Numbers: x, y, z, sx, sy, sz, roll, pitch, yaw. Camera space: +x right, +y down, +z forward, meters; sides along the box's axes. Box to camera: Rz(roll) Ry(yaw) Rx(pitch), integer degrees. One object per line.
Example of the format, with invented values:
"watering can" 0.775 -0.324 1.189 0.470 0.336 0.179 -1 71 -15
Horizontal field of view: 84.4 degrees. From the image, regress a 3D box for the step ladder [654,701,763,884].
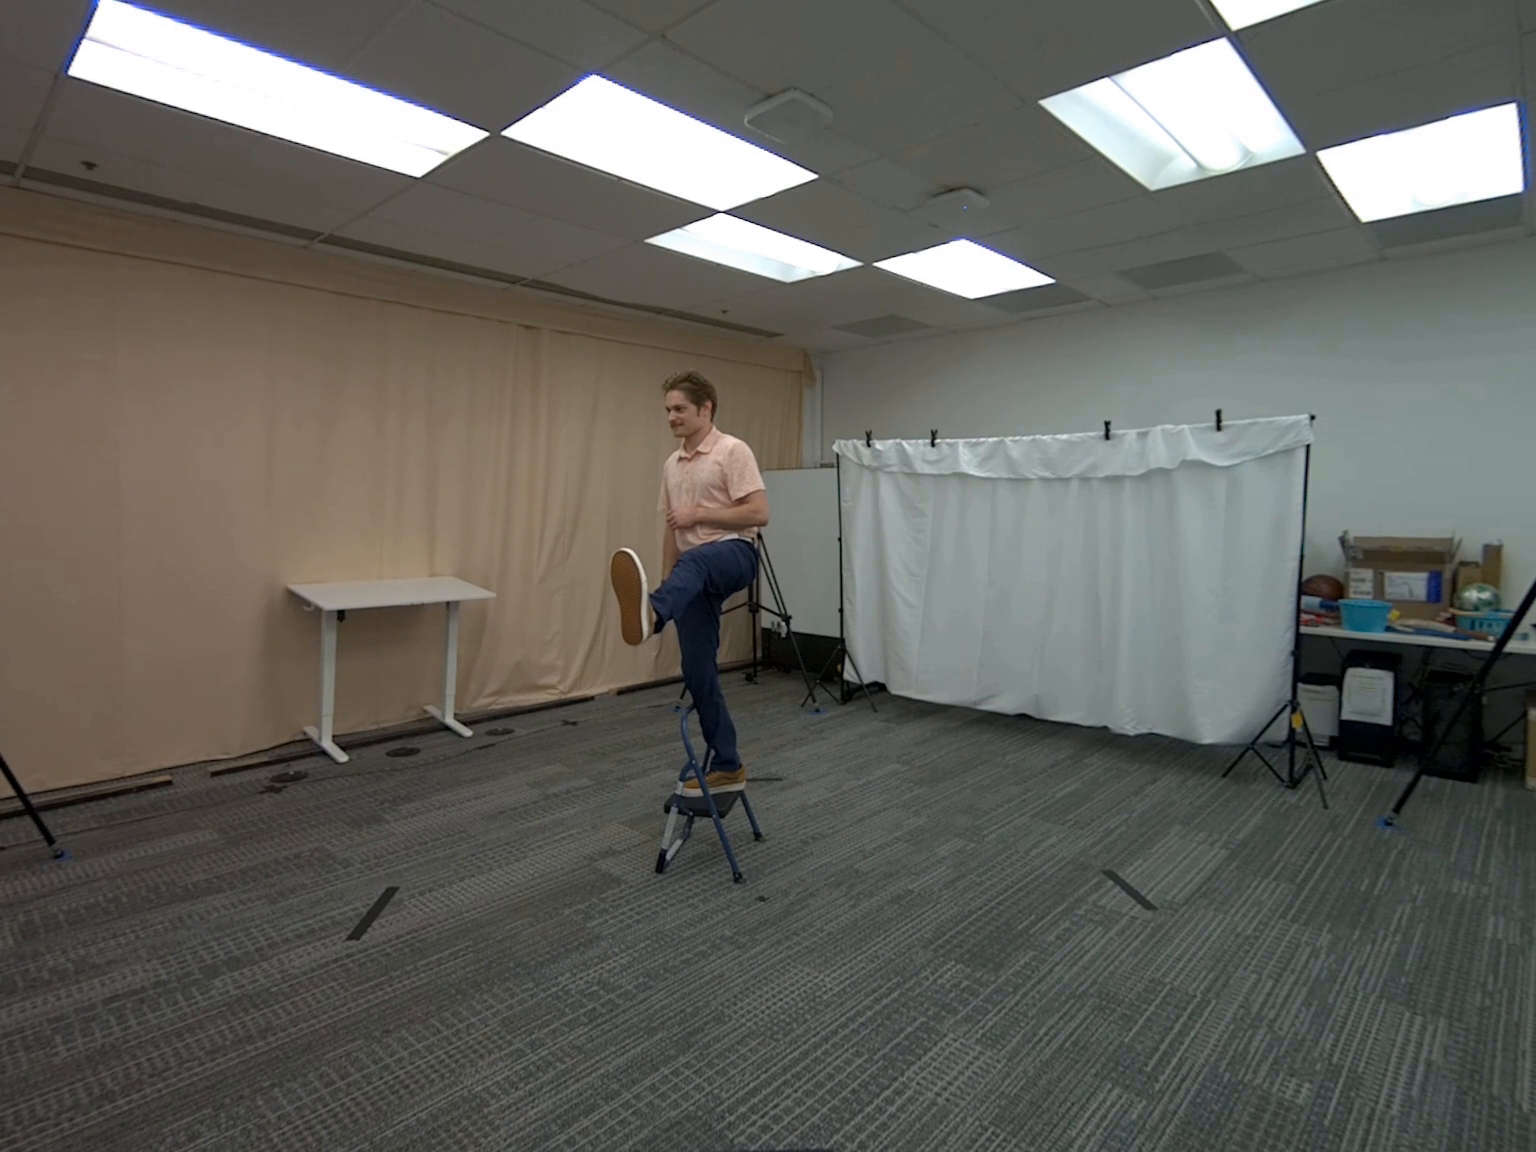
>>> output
"step ladder" -0.225 0.816 3.339 0.354 0.605 0.426 0 3 11
